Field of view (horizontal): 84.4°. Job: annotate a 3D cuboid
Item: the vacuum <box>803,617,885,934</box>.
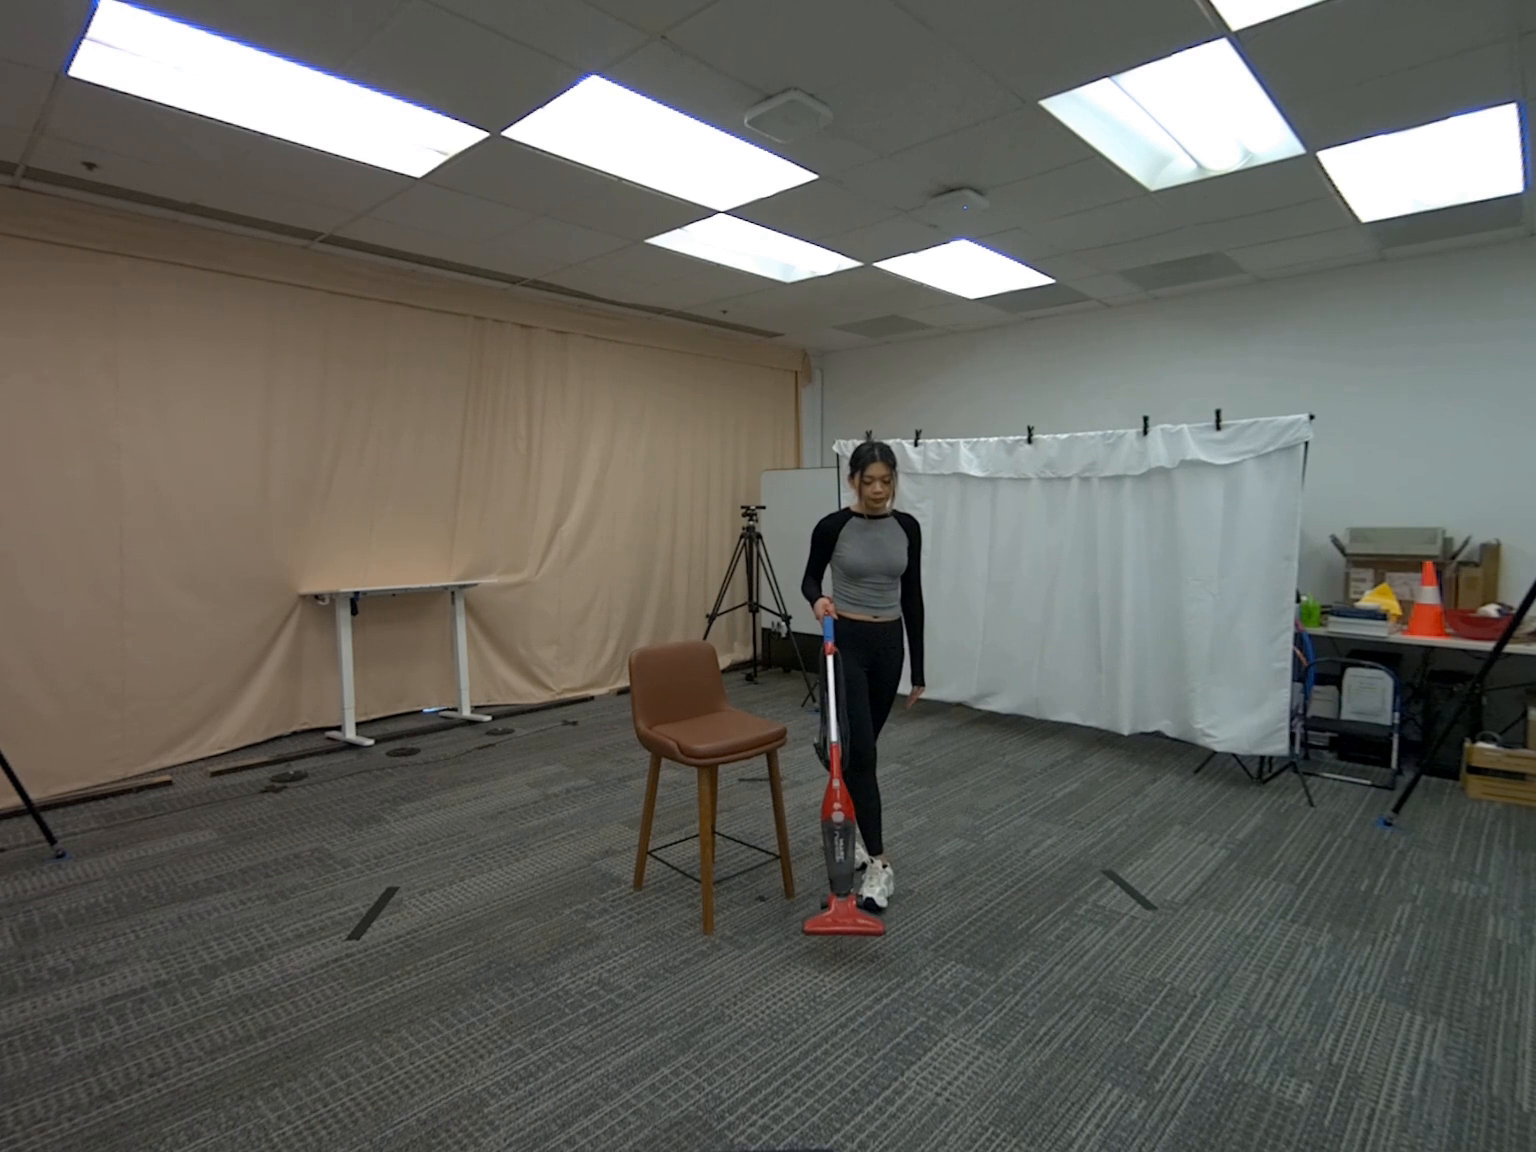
[{"bbox_3d":[0.228,0.574,2.795,0.253,1.064,0.141,-2,-25,3],"label":"vacuum"}]
